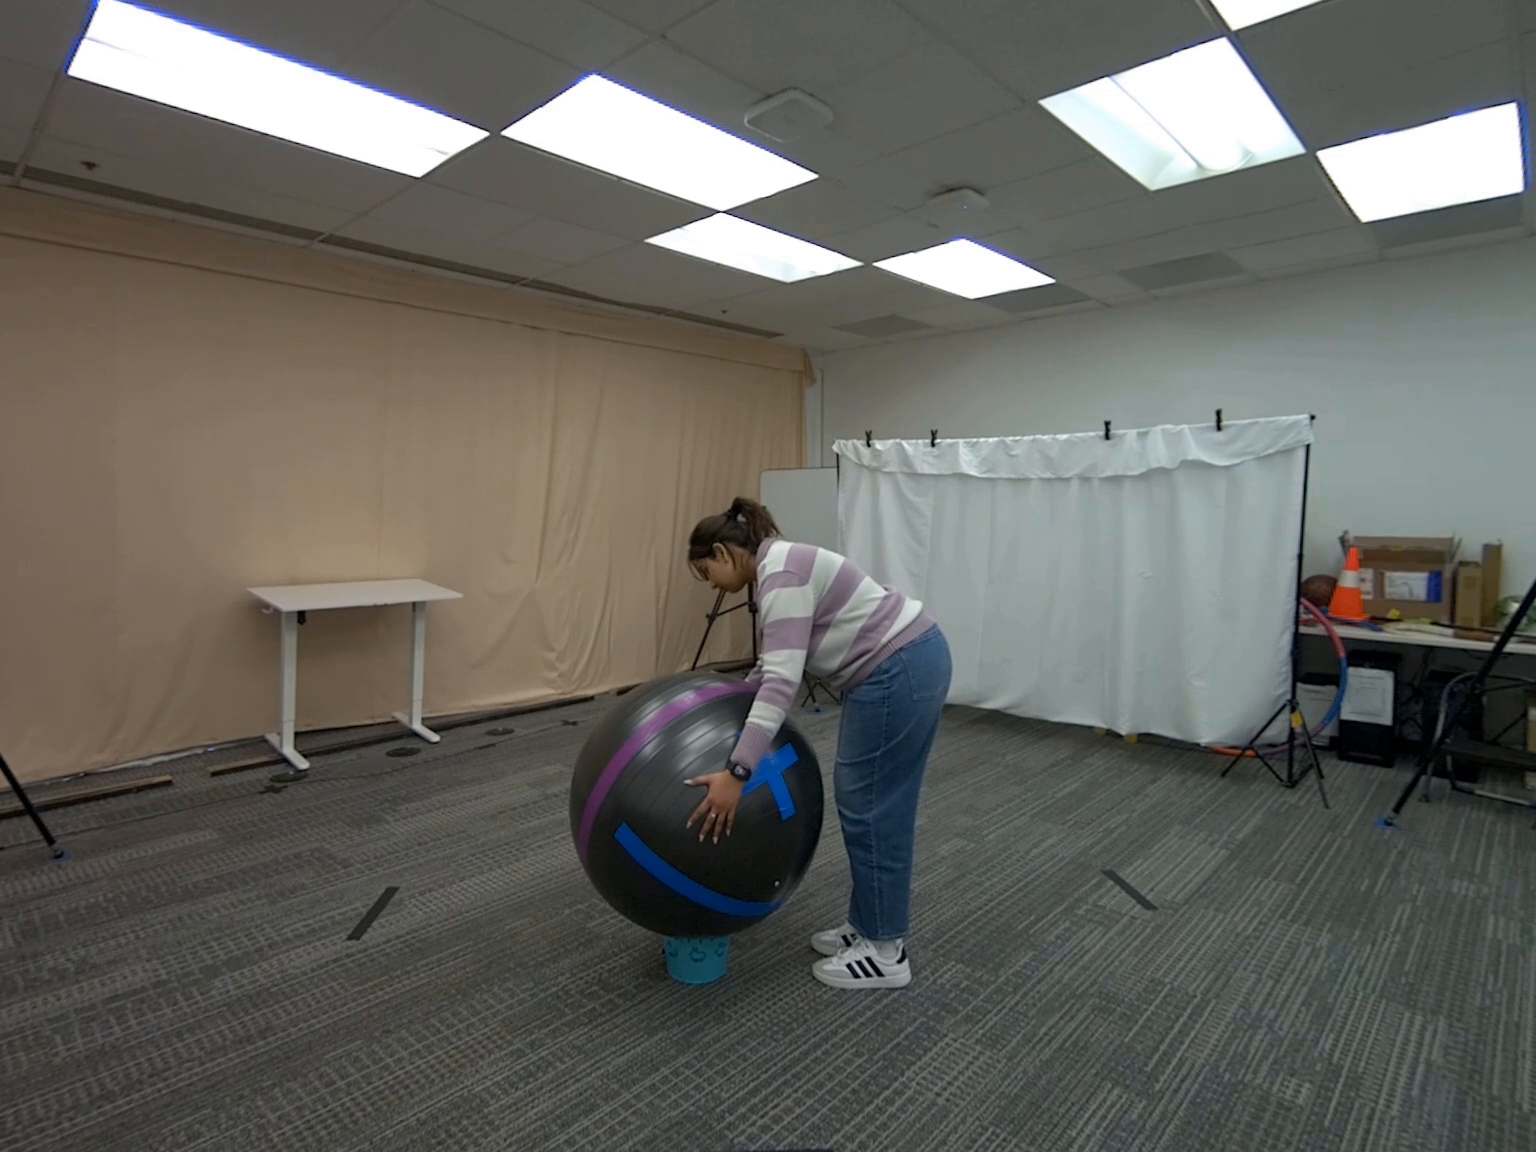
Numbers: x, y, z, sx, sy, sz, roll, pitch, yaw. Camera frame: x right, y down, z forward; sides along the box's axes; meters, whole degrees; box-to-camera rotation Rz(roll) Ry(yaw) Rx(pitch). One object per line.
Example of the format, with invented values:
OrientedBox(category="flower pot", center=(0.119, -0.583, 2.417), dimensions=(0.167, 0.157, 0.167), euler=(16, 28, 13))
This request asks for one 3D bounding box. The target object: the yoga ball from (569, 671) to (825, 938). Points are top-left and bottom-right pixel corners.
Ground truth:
OrientedBox(category="yoga ball", center=(-0.215, 0.672, 2.515), dimensions=(0.757, 0.756, 0.761), euler=(0, 4, -2))
